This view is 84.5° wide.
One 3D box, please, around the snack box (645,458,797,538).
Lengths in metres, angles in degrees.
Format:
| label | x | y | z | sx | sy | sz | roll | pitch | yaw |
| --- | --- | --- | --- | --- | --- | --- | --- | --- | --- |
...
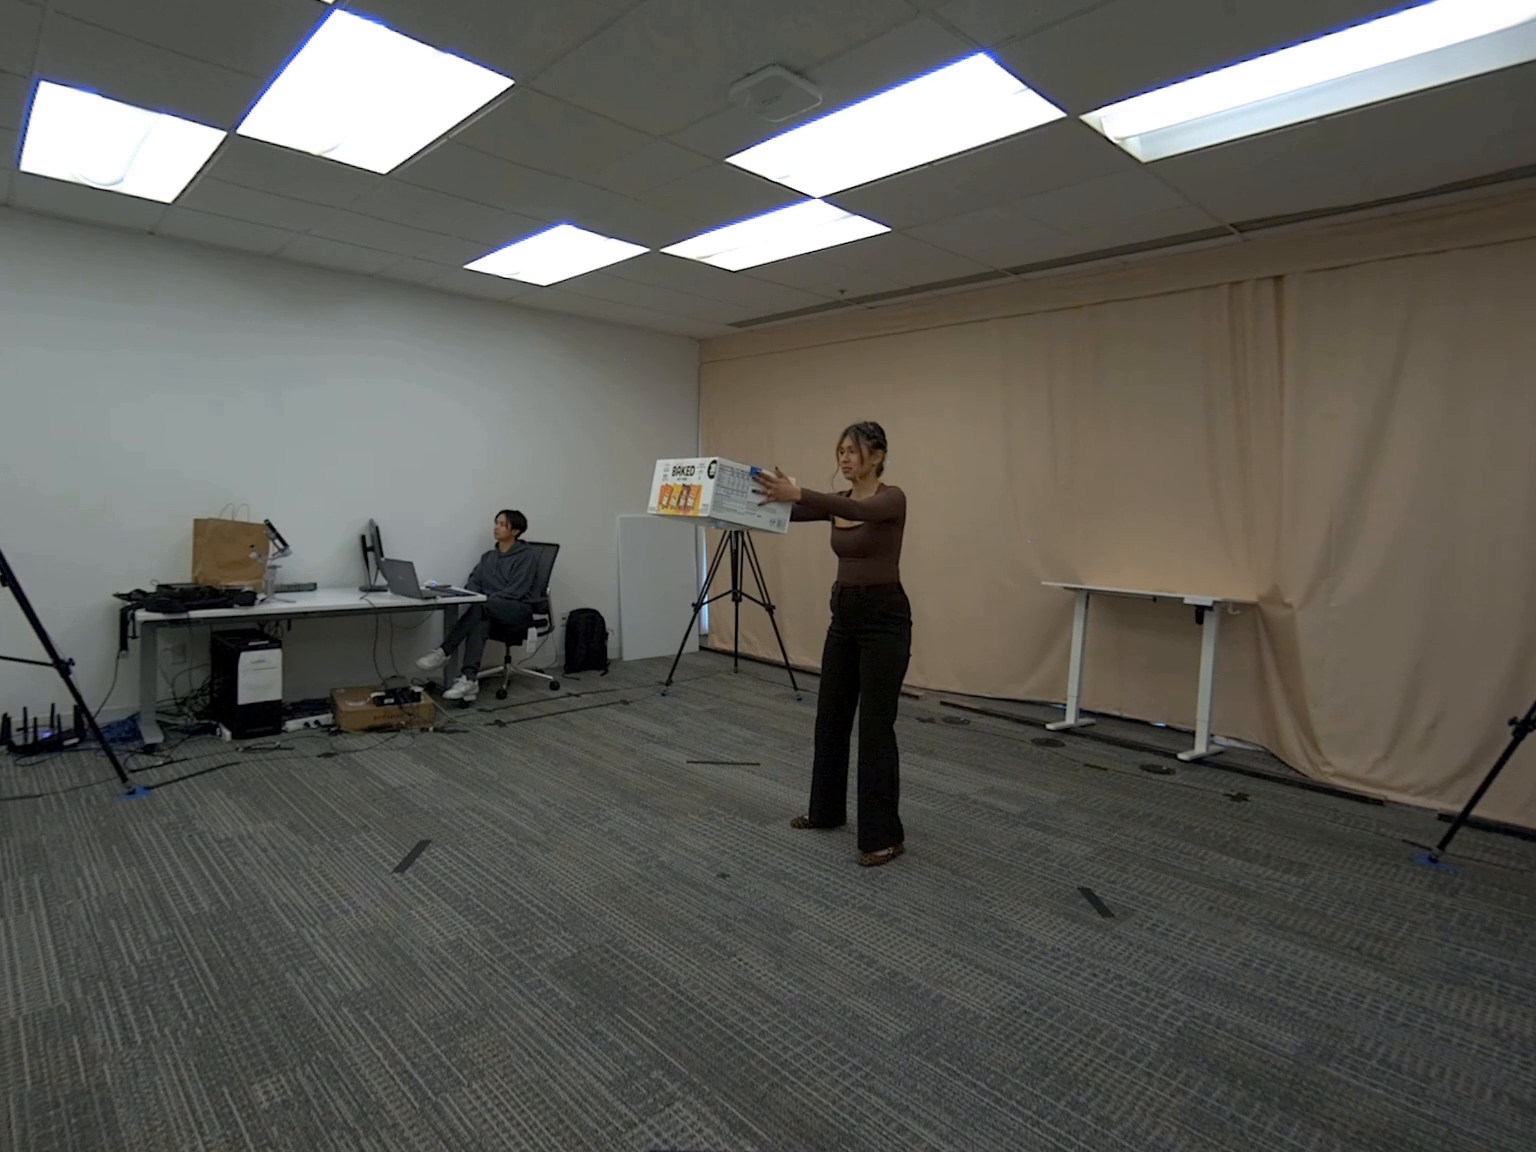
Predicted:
| label | x | y | z | sx | sy | sz | roll | pitch | yaw |
| --- | --- | --- | --- | --- | --- | --- | --- | --- | --- |
| snack box | -0.174 | -0.280 | 3.020 | 0.331 | 0.206 | 0.415 | 11 | -2 | -37 |
